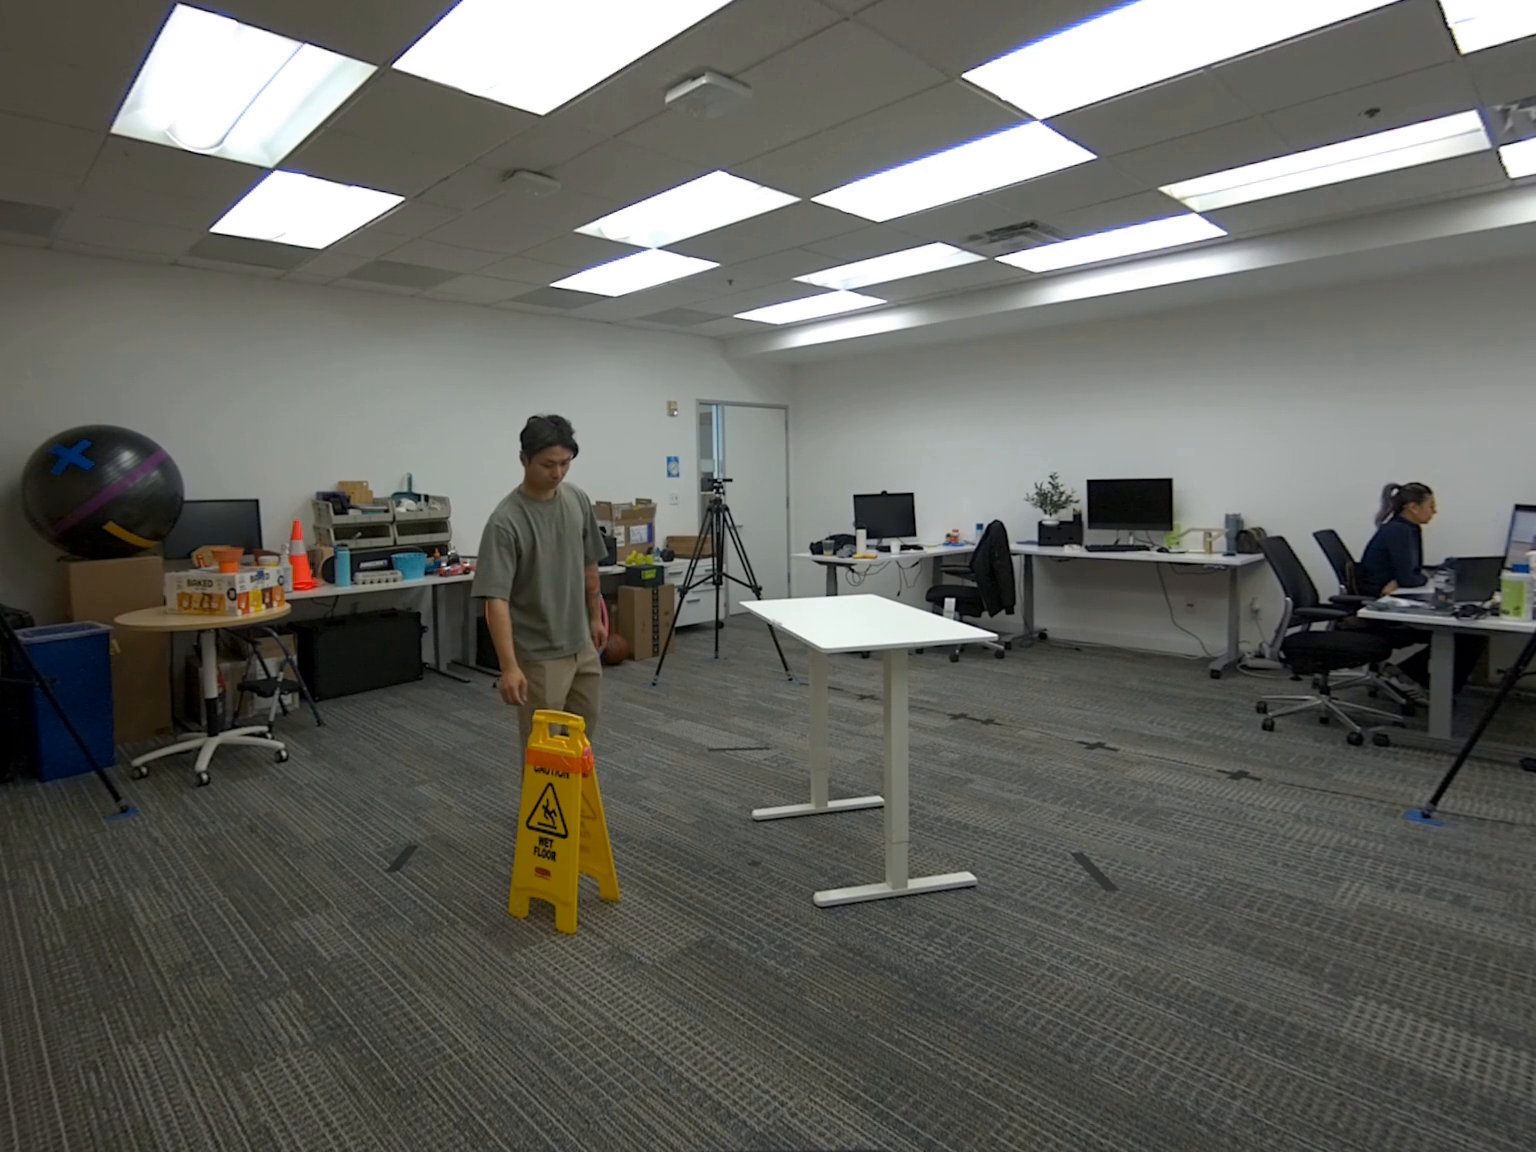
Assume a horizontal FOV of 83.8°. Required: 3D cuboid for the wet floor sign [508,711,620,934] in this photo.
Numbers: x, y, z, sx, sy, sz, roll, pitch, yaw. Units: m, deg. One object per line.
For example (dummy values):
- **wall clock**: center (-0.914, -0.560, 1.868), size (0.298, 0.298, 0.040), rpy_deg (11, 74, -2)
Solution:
- **wet floor sign**: center (-0.672, 0.769, 2.786), size (0.289, 0.644, 0.284), rpy_deg (0, 5, 27)
